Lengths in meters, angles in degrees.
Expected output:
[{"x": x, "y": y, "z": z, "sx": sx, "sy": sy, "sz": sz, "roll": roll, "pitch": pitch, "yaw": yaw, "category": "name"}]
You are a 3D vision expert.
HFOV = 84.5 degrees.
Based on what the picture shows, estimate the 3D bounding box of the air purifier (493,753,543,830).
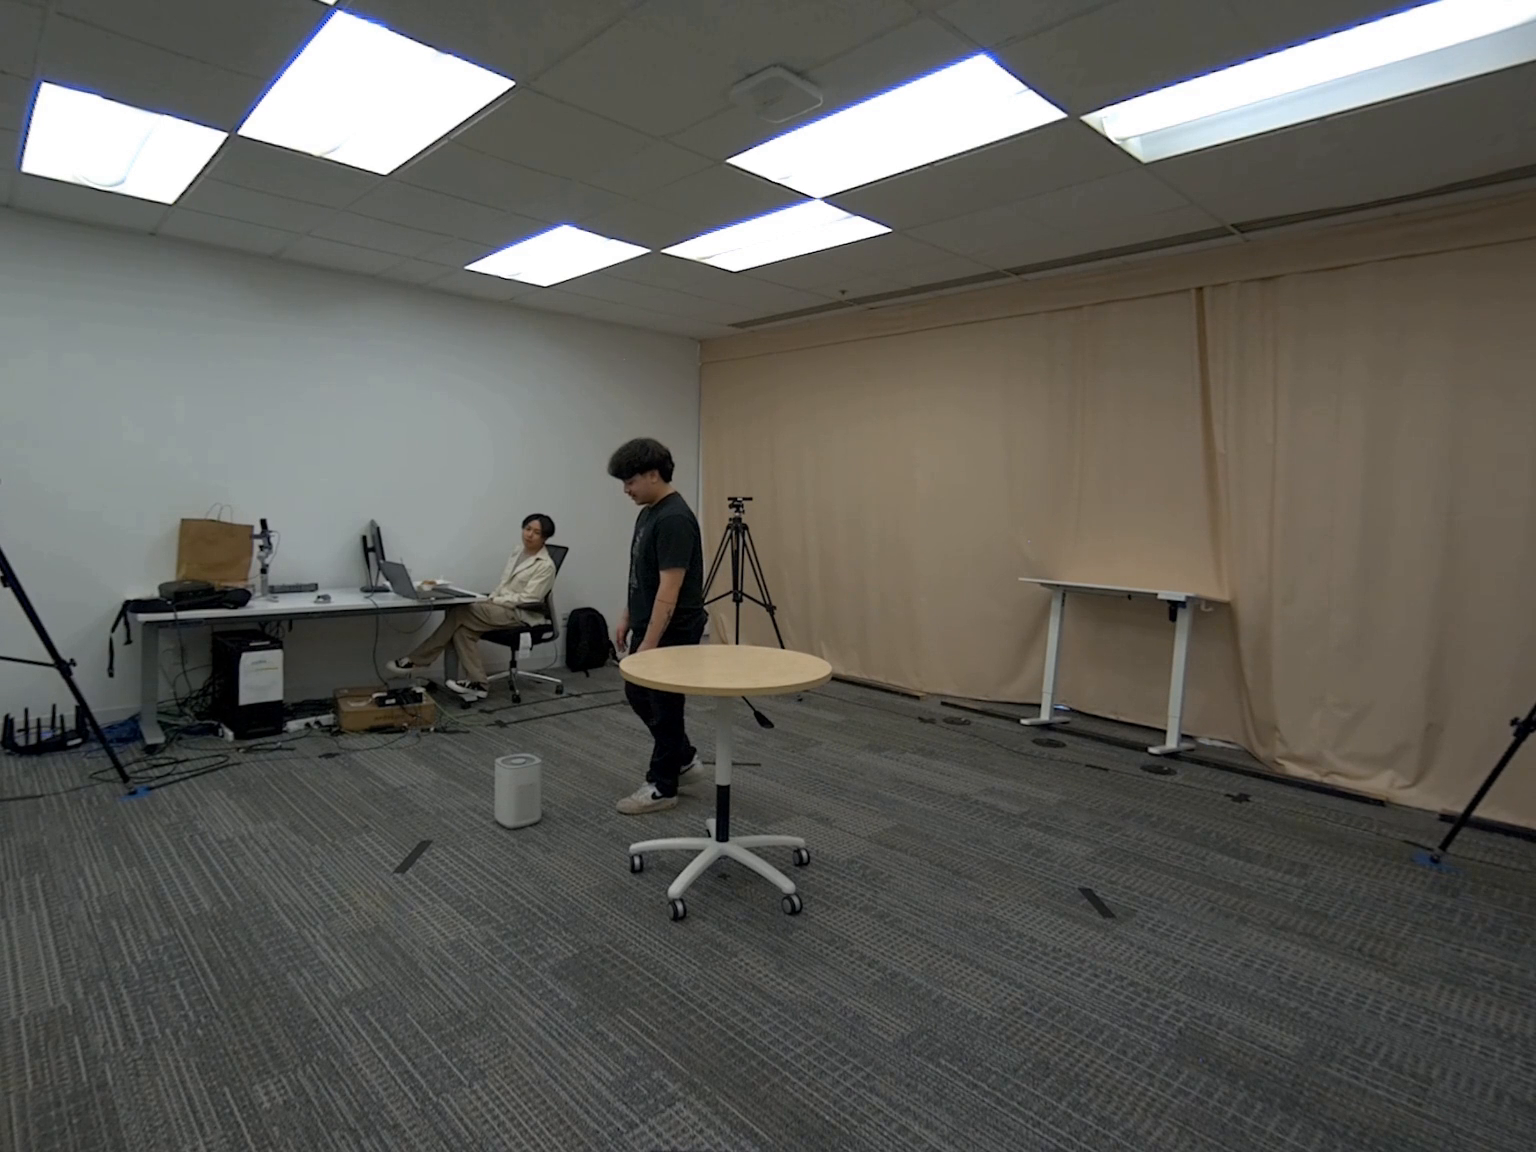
[{"x": -1.068, "y": 0.912, "z": 3.568, "sx": 0.167, "sy": 0.265, "sz": 0.175, "roll": -2, "pitch": 5, "yaw": -42, "category": "air purifier"}]
